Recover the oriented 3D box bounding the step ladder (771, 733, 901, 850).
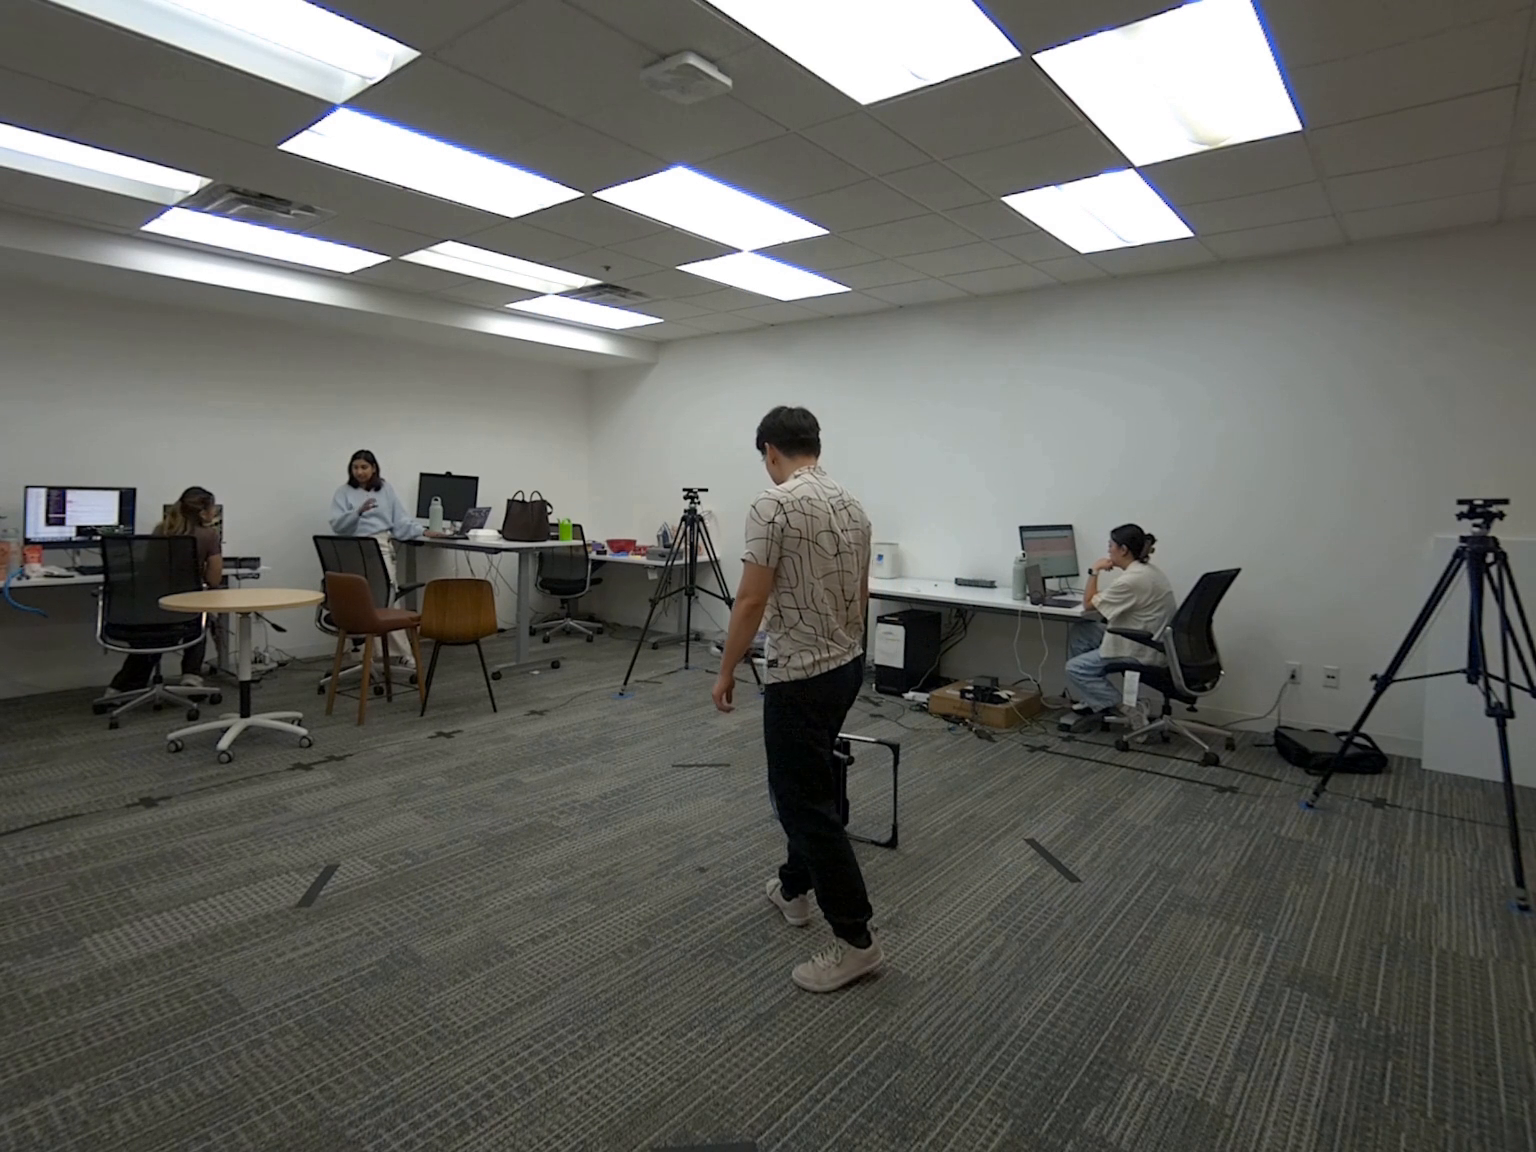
[{"bbox_3d":[0.172,0.834,3.418,0.627,0.430,0.338,5,4,44],"label":"step ladder"}]
